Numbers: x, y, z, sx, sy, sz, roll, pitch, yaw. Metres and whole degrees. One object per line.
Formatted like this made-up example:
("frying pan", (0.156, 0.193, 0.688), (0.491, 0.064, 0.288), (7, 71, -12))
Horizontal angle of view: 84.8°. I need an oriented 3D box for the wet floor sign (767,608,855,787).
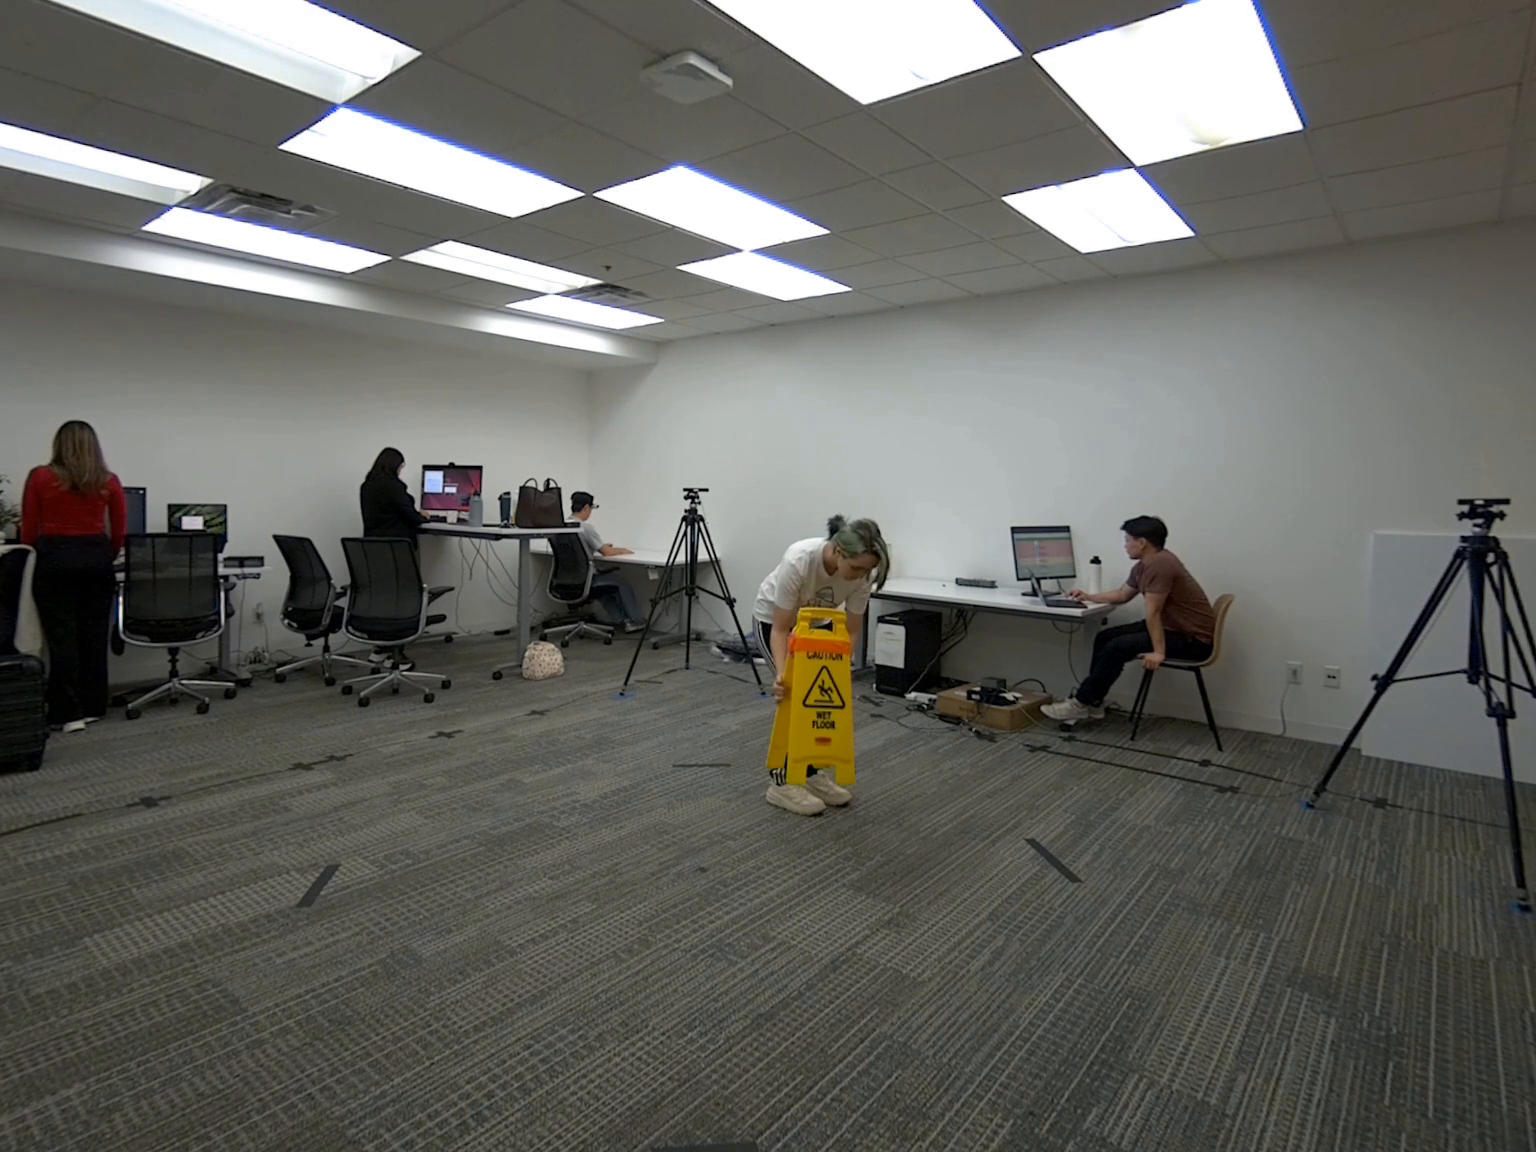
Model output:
("wet floor sign", (0.189, 0.448, 3.321), (0.277, 0.645, 0.296), (5, 1, -19))
